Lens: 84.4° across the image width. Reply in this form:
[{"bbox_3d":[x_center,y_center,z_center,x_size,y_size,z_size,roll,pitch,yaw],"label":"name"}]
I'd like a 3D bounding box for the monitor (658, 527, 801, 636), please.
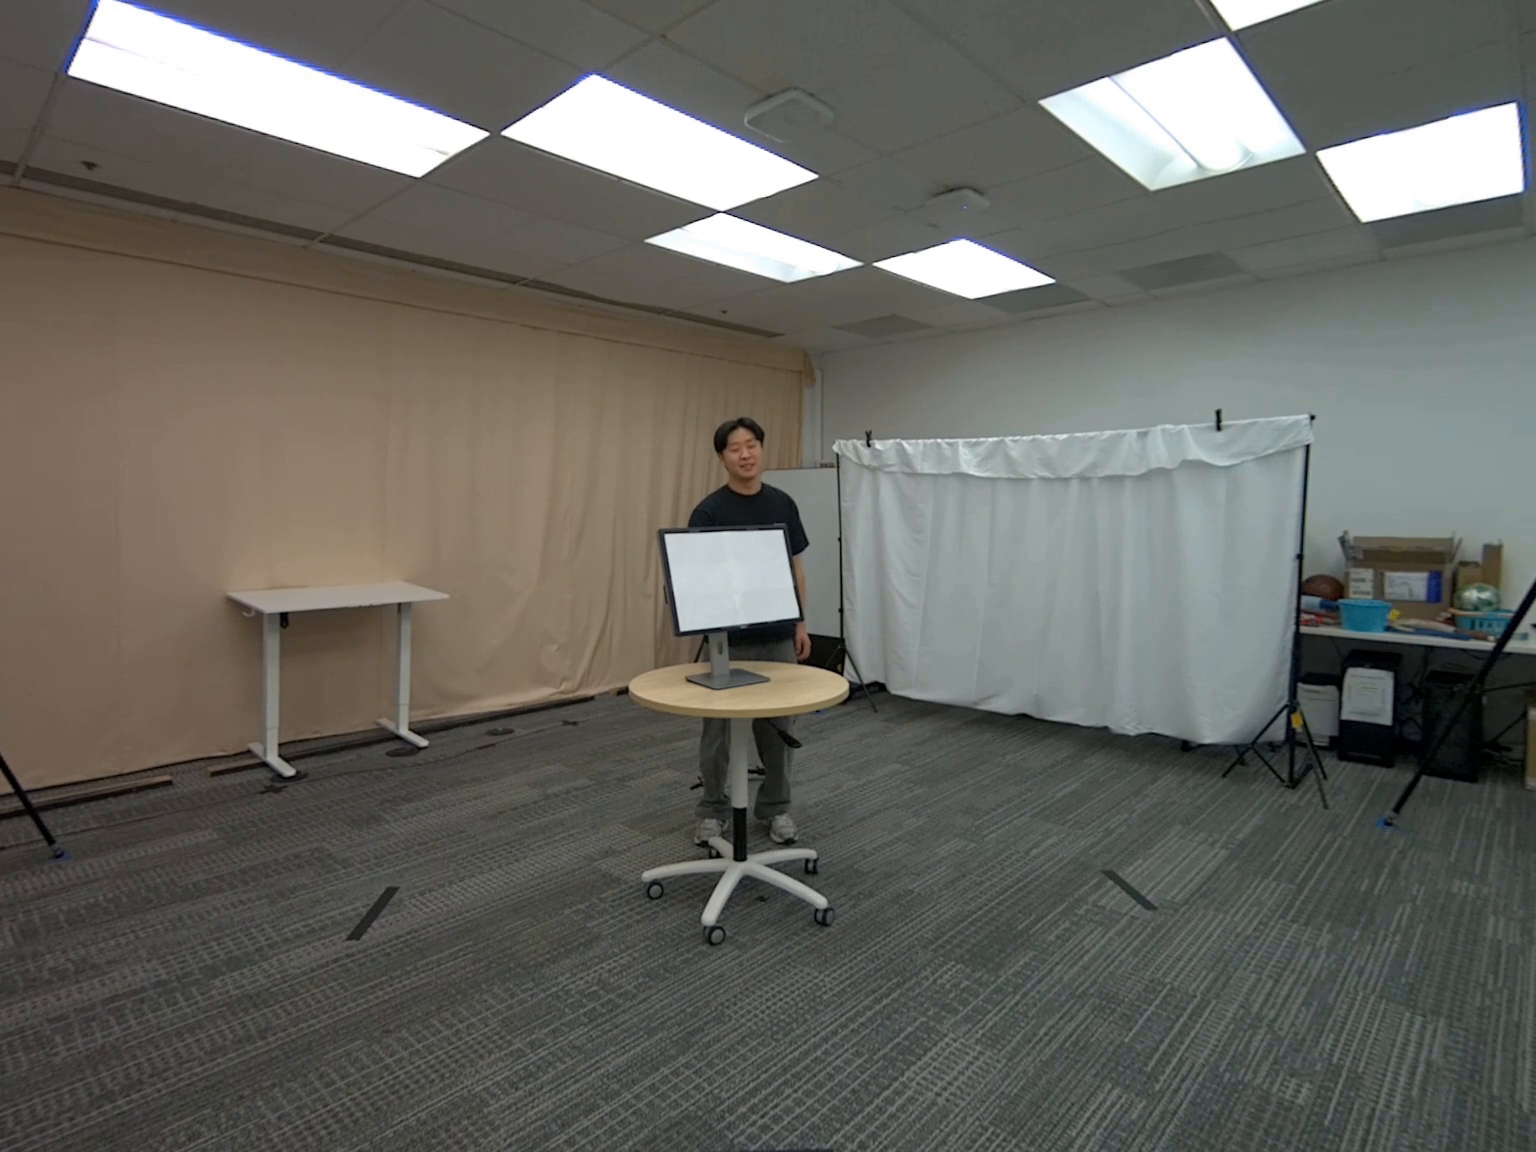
[{"bbox_3d":[-0.138,0.110,2.958,0.546,0.564,0.229,-4,6,-35],"label":"monitor"}]
